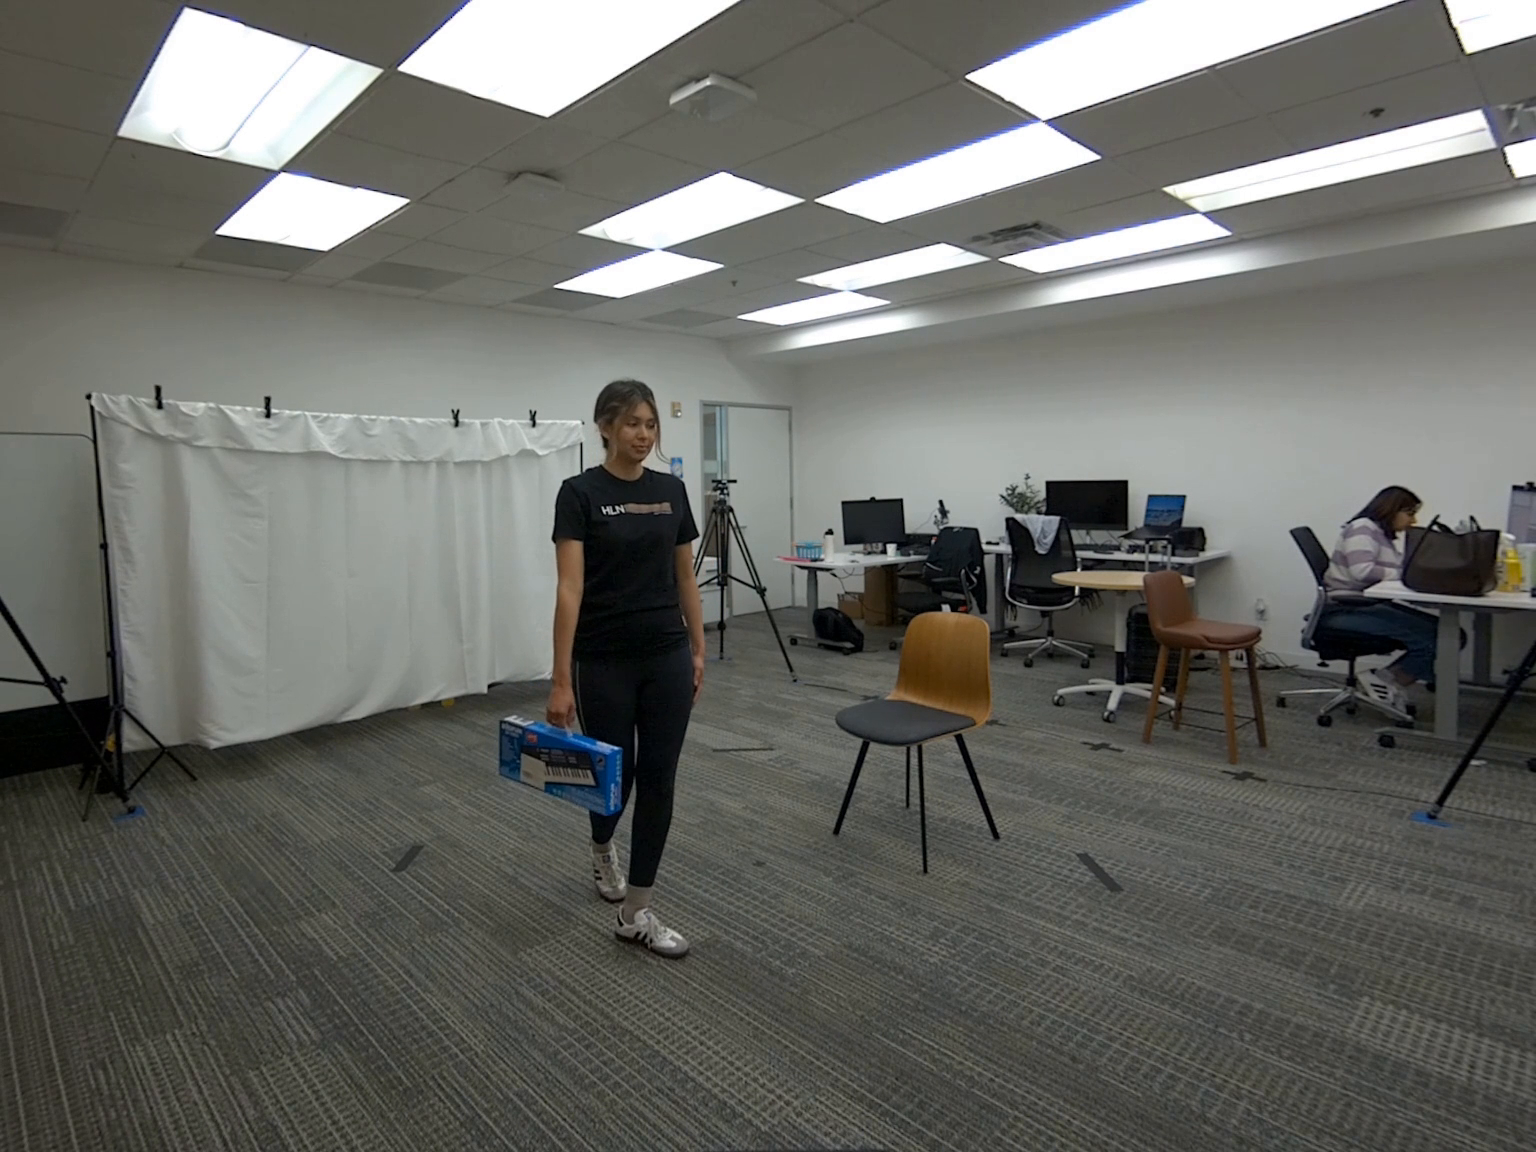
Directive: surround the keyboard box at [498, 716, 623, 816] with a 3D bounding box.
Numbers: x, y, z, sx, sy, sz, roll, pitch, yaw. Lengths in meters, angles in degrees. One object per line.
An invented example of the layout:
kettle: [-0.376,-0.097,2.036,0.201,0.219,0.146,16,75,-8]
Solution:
keyboard box: [-0.586,0.525,2.398,0.450,0.175,0.057,6,6,34]
